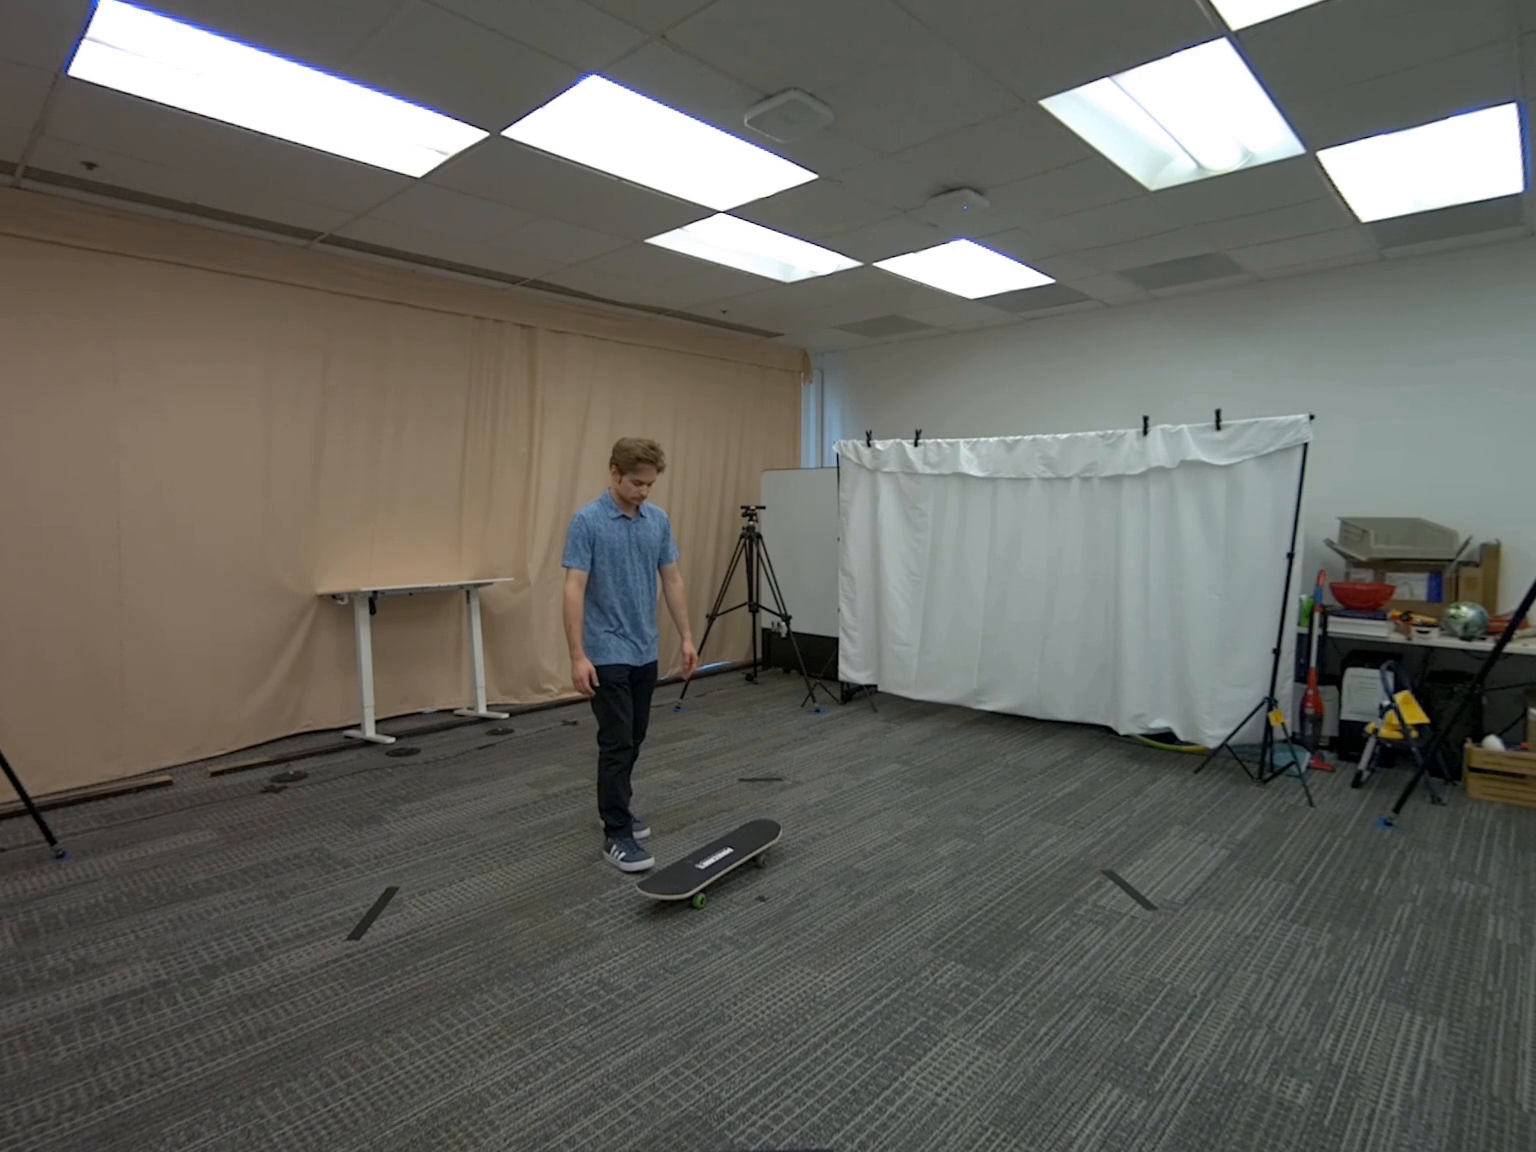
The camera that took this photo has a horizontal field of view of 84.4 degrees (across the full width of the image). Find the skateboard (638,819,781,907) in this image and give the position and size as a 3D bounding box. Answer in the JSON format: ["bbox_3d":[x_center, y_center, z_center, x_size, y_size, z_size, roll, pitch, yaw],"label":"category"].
[{"bbox_3d":[-0.198,1.078,3.121,0.199,0.110,0.763,2,5,34],"label":"skateboard"}]
